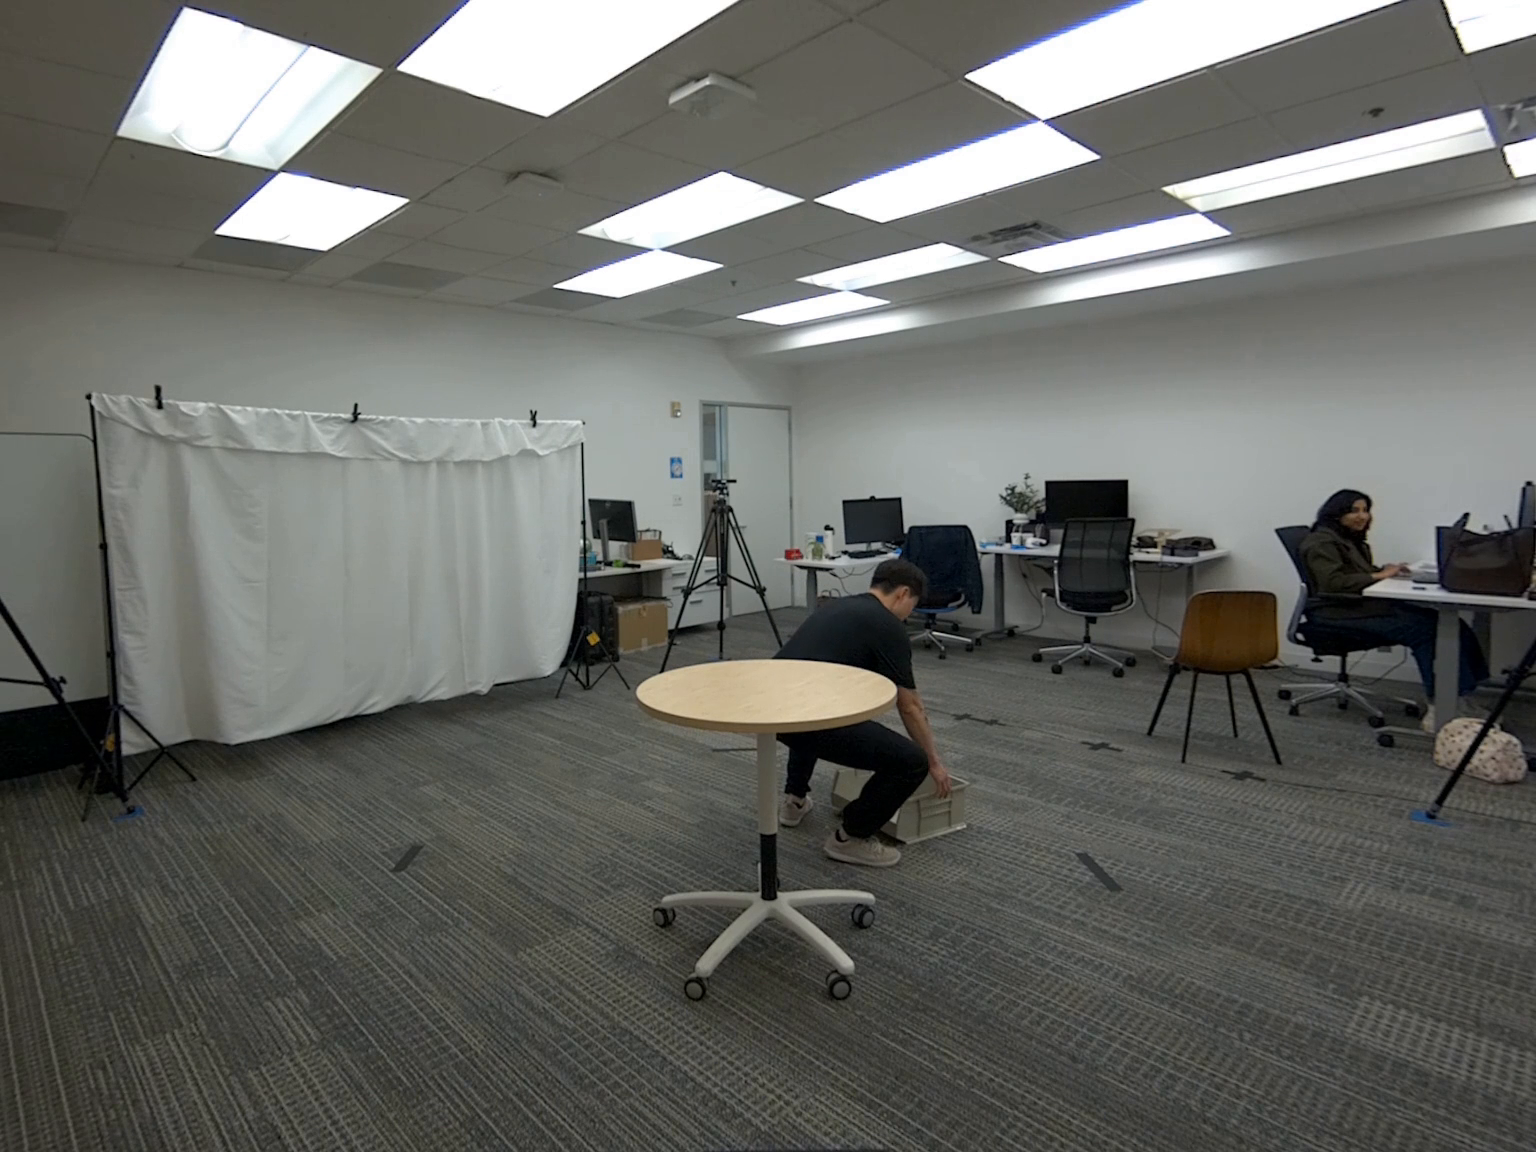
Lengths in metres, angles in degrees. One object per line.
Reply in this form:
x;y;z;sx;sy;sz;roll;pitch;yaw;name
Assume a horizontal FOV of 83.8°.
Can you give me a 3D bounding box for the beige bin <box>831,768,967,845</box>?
0.536;0.908;3.480;0.368;0.188;0.434;-4;6;-32;beige bin
